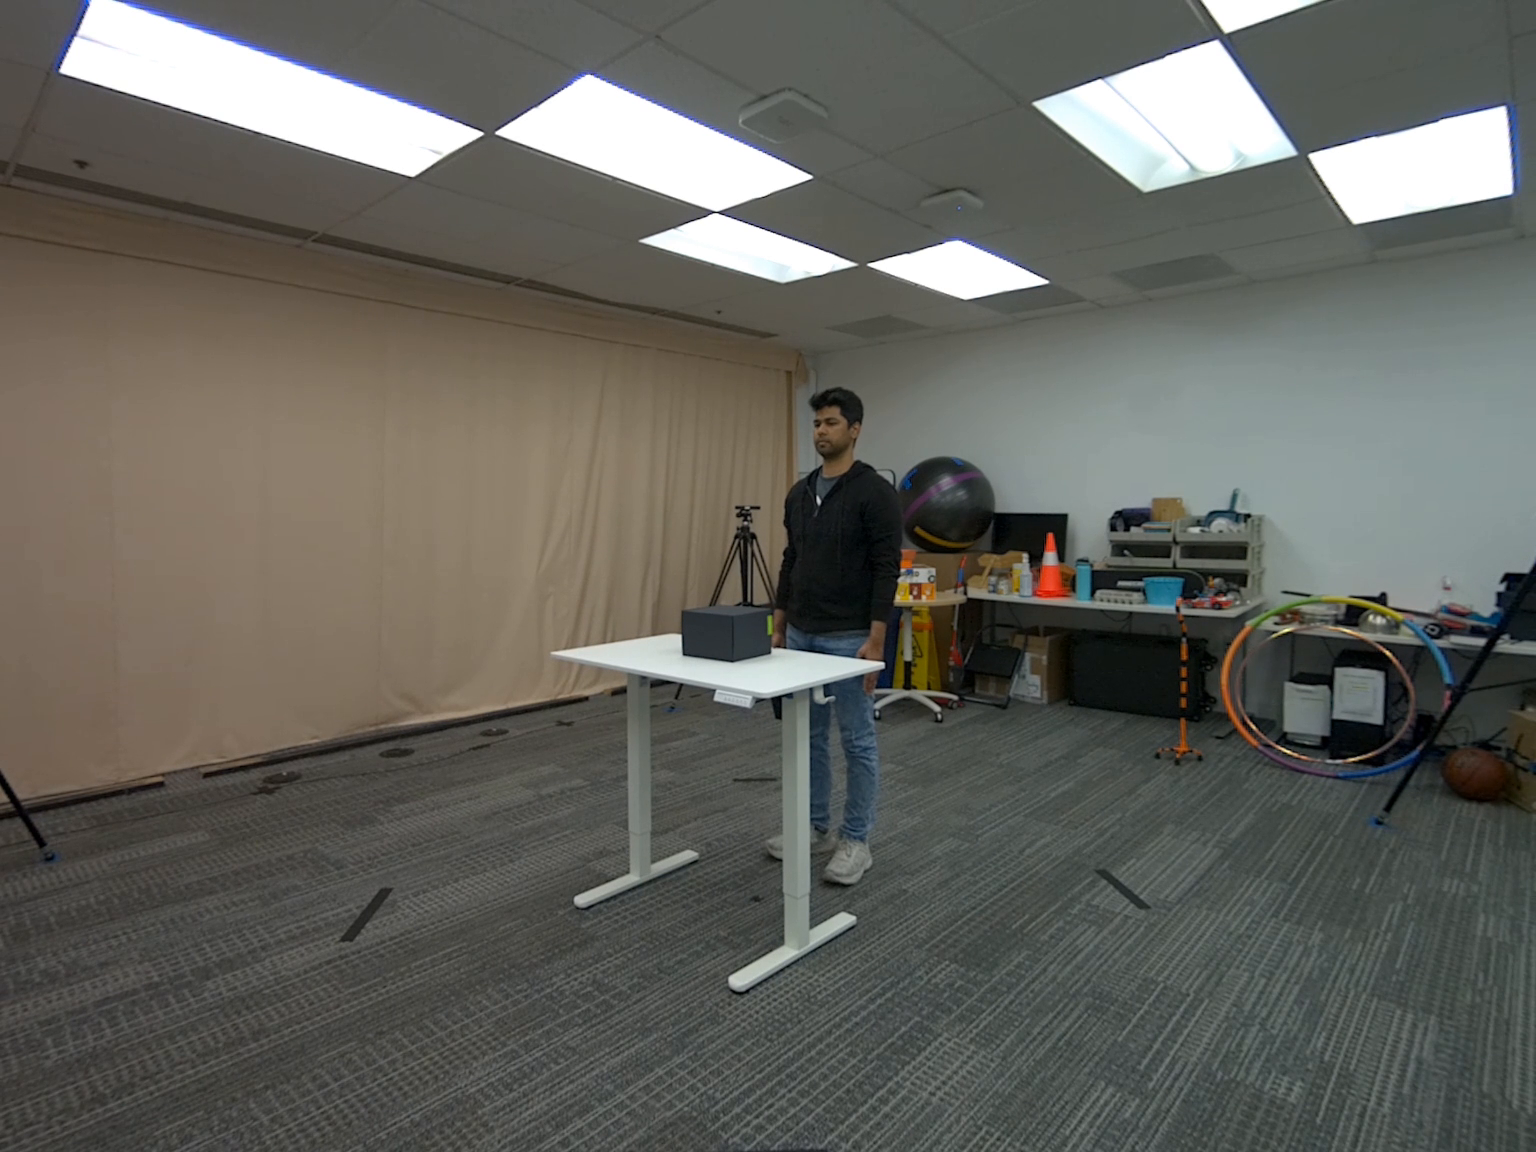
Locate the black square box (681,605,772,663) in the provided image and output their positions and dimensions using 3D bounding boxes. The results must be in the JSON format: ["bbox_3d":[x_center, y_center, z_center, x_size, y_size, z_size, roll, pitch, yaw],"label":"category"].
[{"bbox_3d":[-0.138,0.192,2.885,0.235,0.155,0.210,3,5,38],"label":"black square box"}]
